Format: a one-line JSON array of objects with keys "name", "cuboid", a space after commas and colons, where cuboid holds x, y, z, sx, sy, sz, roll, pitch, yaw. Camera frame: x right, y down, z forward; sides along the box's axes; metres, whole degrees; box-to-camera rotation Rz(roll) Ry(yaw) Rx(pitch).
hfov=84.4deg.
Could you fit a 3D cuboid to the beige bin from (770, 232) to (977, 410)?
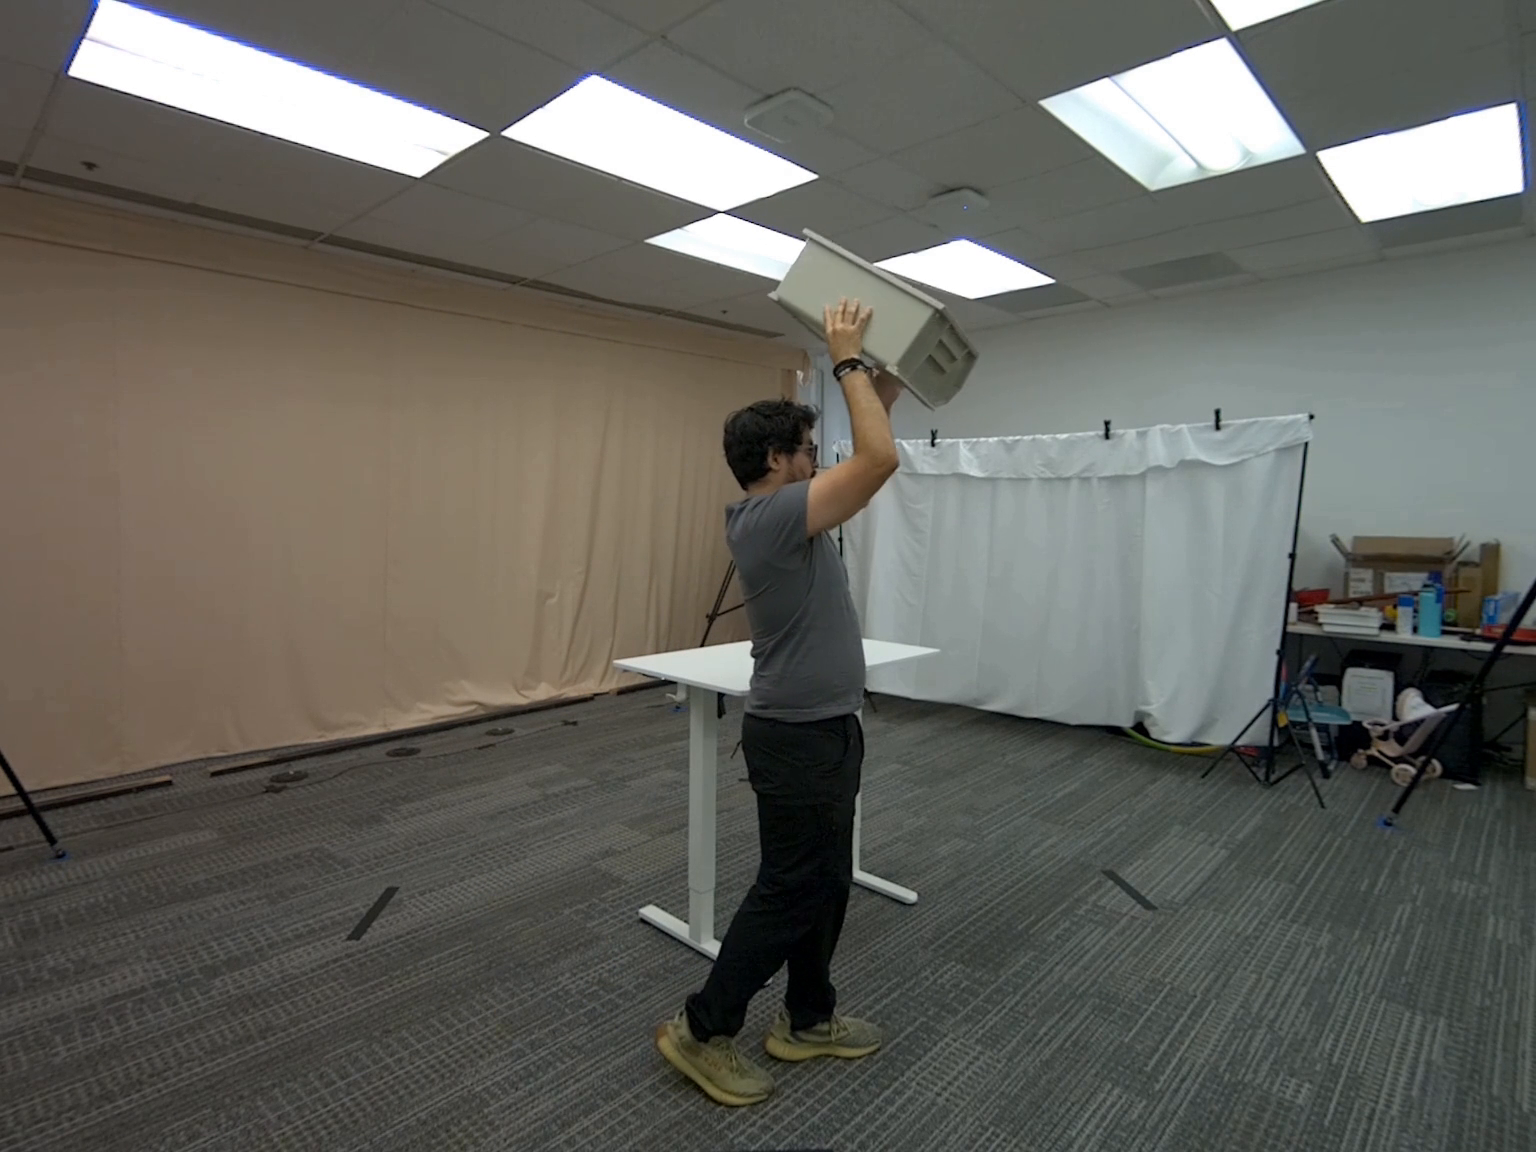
[{"name": "beige bin", "cuboid": [0.275, -0.623, 2.093, 0.435, 0.189, 0.366, 40, 14, 26]}]
